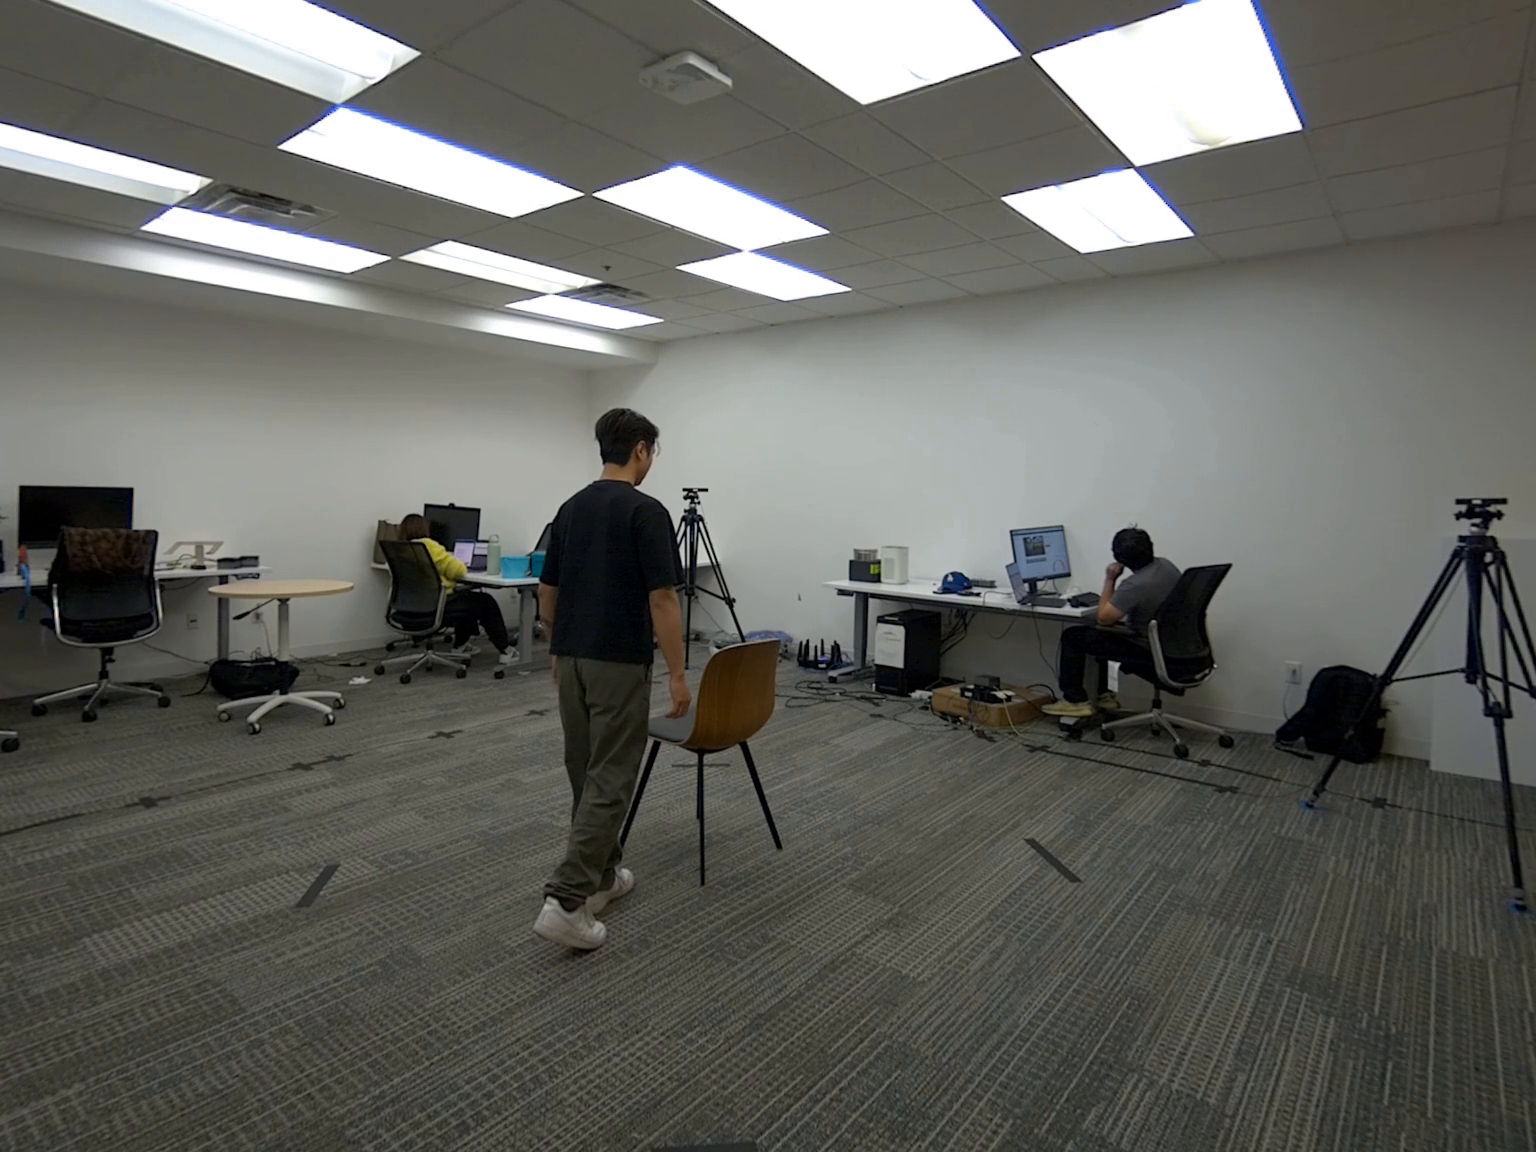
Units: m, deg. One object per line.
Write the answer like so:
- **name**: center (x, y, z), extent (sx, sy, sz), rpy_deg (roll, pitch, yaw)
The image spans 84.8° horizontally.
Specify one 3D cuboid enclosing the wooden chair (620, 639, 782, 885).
- **wooden chair**: center (-0.265, 0.626, 3.270), extent (0.542, 0.873, 0.464), rpy_deg (9, 8, 41)
